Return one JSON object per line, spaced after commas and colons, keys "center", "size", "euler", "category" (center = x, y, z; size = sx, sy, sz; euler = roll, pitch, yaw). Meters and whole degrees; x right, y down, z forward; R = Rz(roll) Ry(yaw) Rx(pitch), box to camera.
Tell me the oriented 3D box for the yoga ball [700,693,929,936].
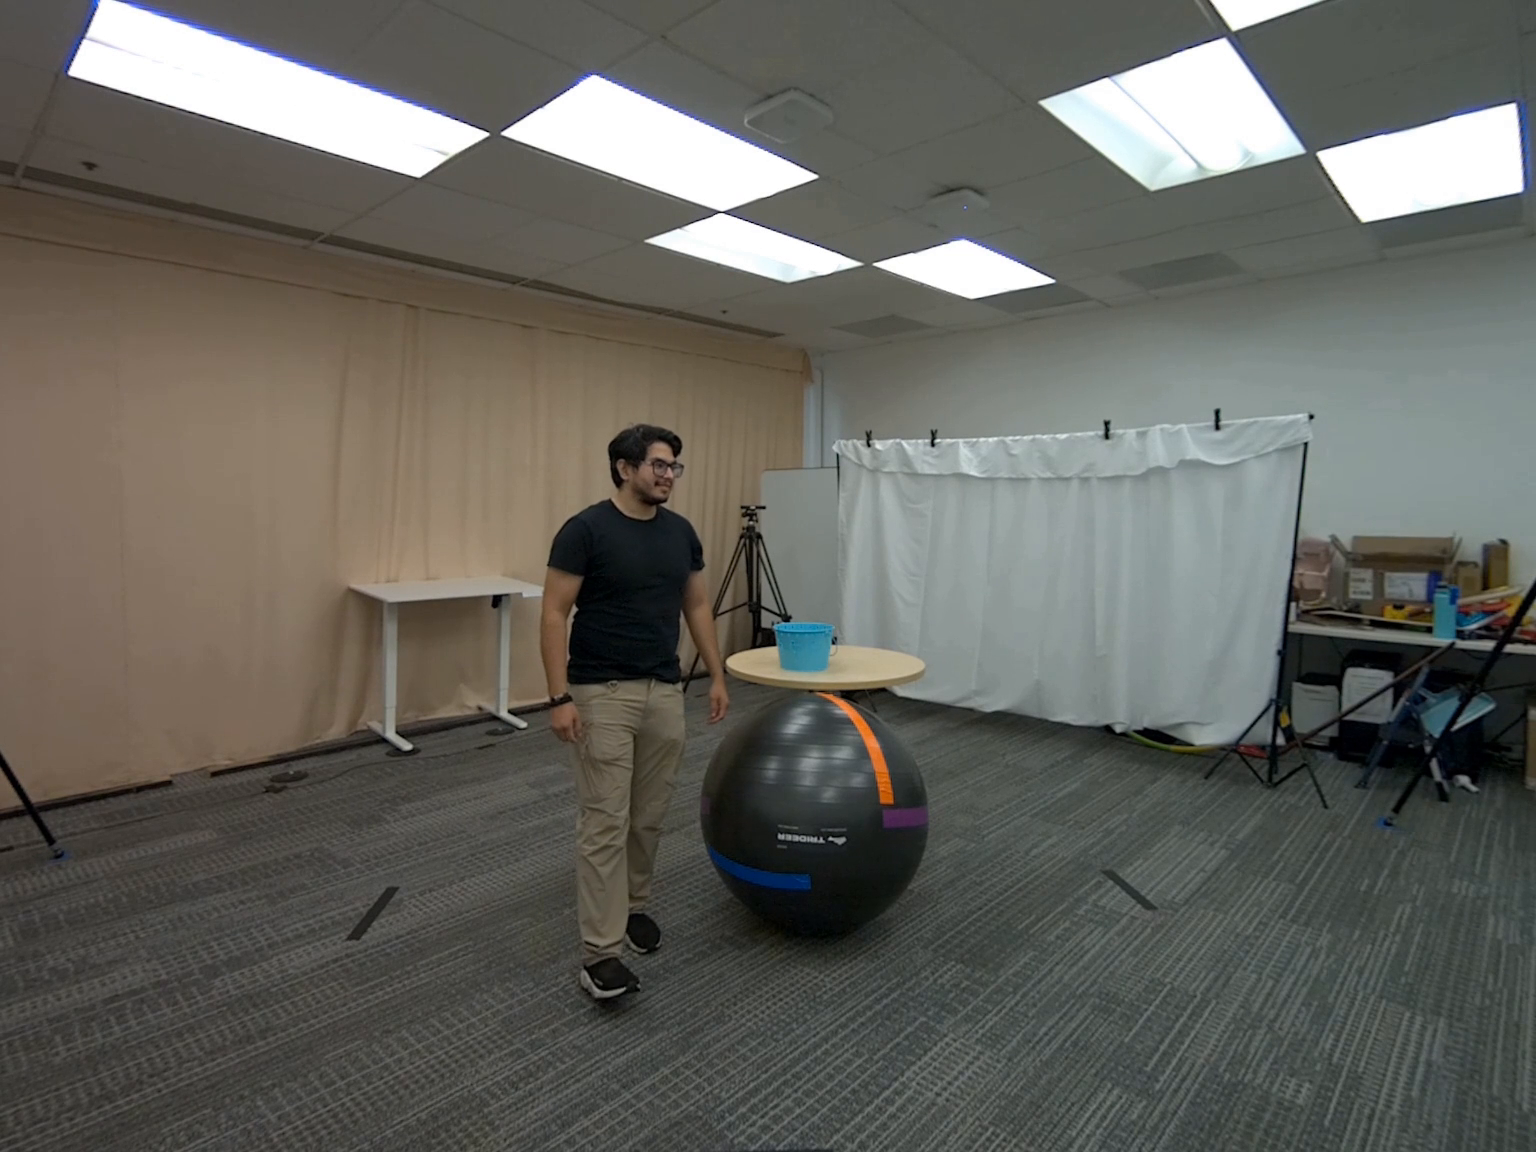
{"center": [0.156, 0.786, 2.824], "size": [0.757, 0.756, 0.760], "euler": [0, 4, -2], "category": "yoga ball"}
